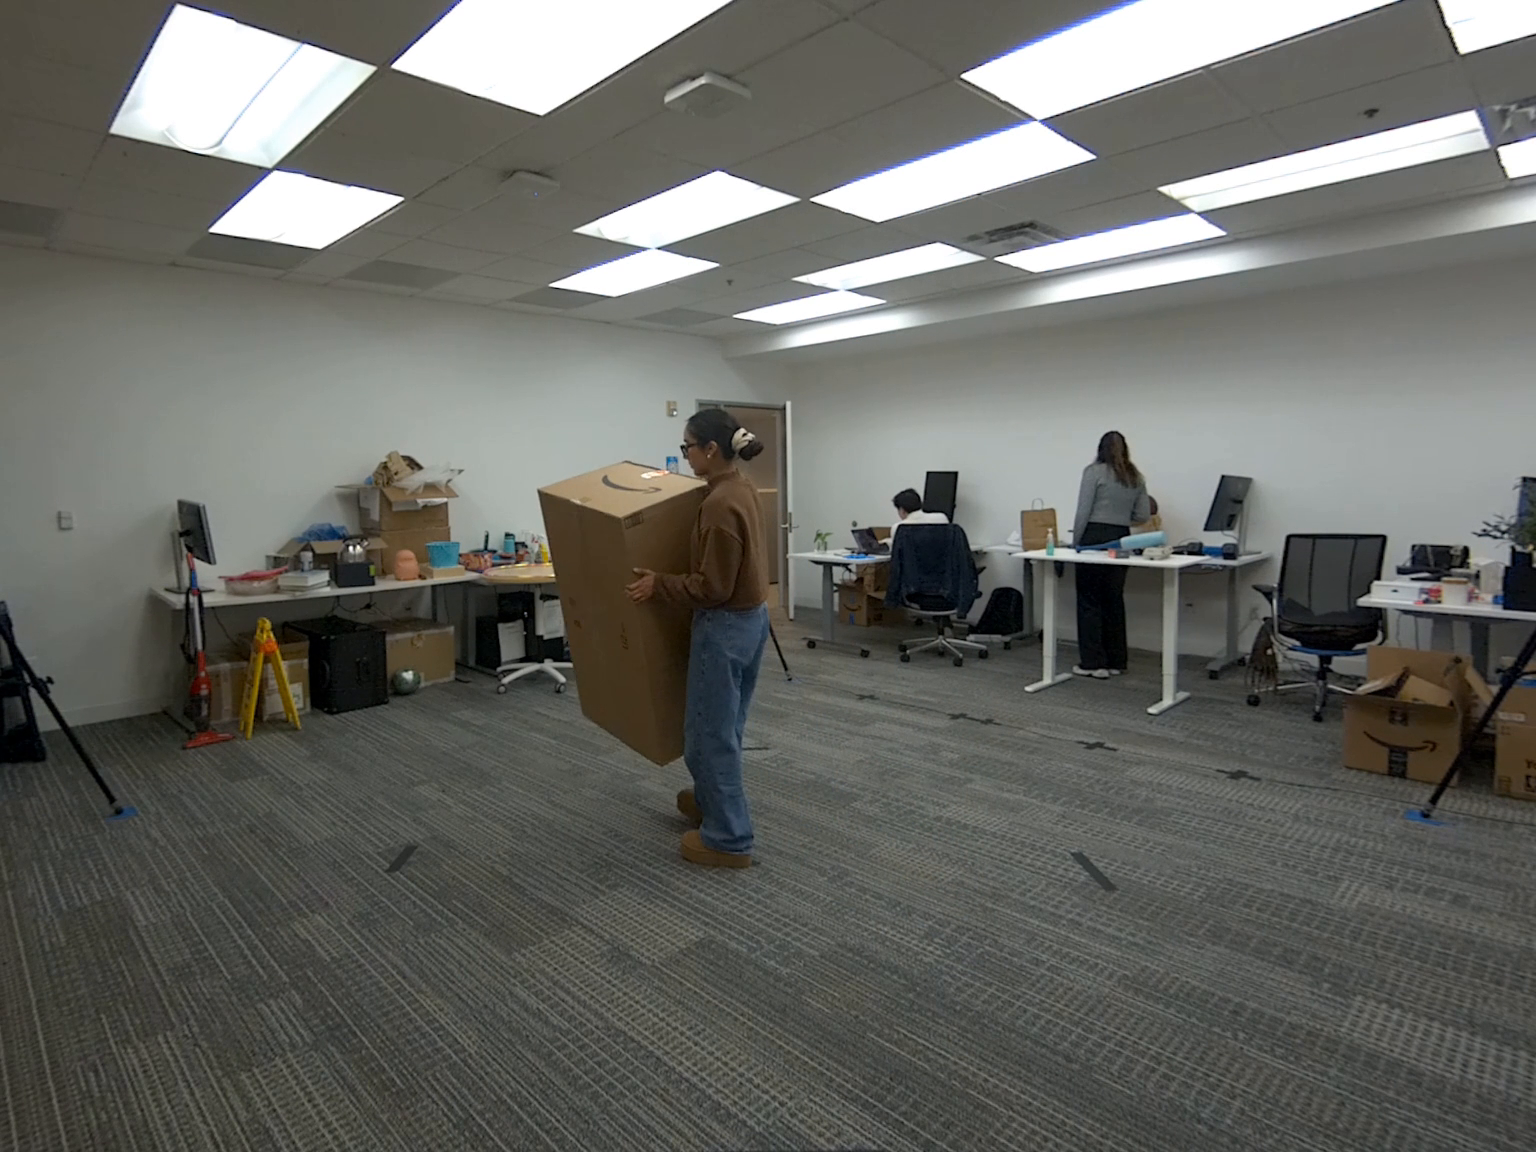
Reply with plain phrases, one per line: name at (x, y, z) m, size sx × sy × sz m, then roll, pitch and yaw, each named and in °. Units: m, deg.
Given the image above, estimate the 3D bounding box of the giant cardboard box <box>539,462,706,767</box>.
giant cardboard box at (-0.496, 0.132, 3.400) m, size 0.419 × 1.006 × 0.598 m, roll -23°, pitch 26°, yaw -37°
